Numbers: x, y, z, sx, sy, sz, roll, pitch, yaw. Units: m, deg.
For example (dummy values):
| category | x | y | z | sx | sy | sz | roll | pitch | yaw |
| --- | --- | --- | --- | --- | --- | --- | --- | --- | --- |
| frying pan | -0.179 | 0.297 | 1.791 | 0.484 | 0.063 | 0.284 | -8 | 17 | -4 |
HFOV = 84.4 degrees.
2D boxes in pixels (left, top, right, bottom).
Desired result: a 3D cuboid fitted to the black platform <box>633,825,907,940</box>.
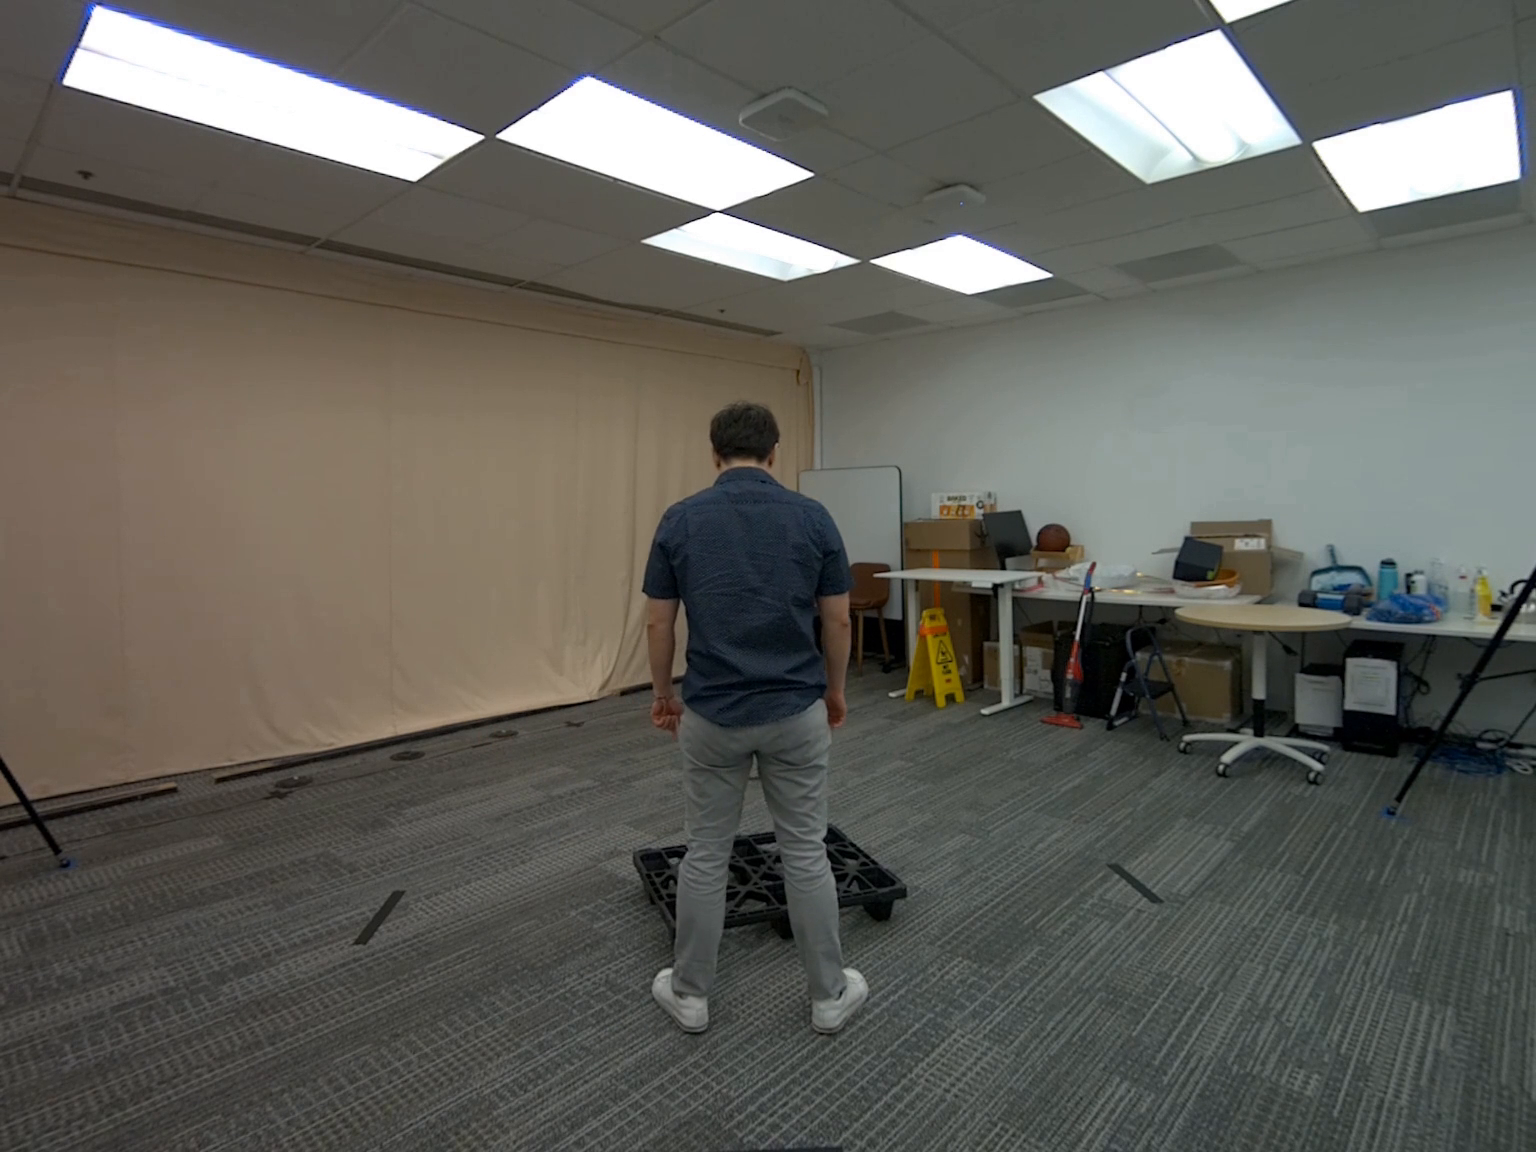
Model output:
| category | x | y | z | sx | sy | sz | roll | pitch | yaw |
| --- | --- | --- | --- | --- | --- | --- | --- | --- | --- |
| black platform | -0.018 | 1.077 | 2.920 | 0.791 | 0.143 | 0.618 | -2 | 4 | -19 |
